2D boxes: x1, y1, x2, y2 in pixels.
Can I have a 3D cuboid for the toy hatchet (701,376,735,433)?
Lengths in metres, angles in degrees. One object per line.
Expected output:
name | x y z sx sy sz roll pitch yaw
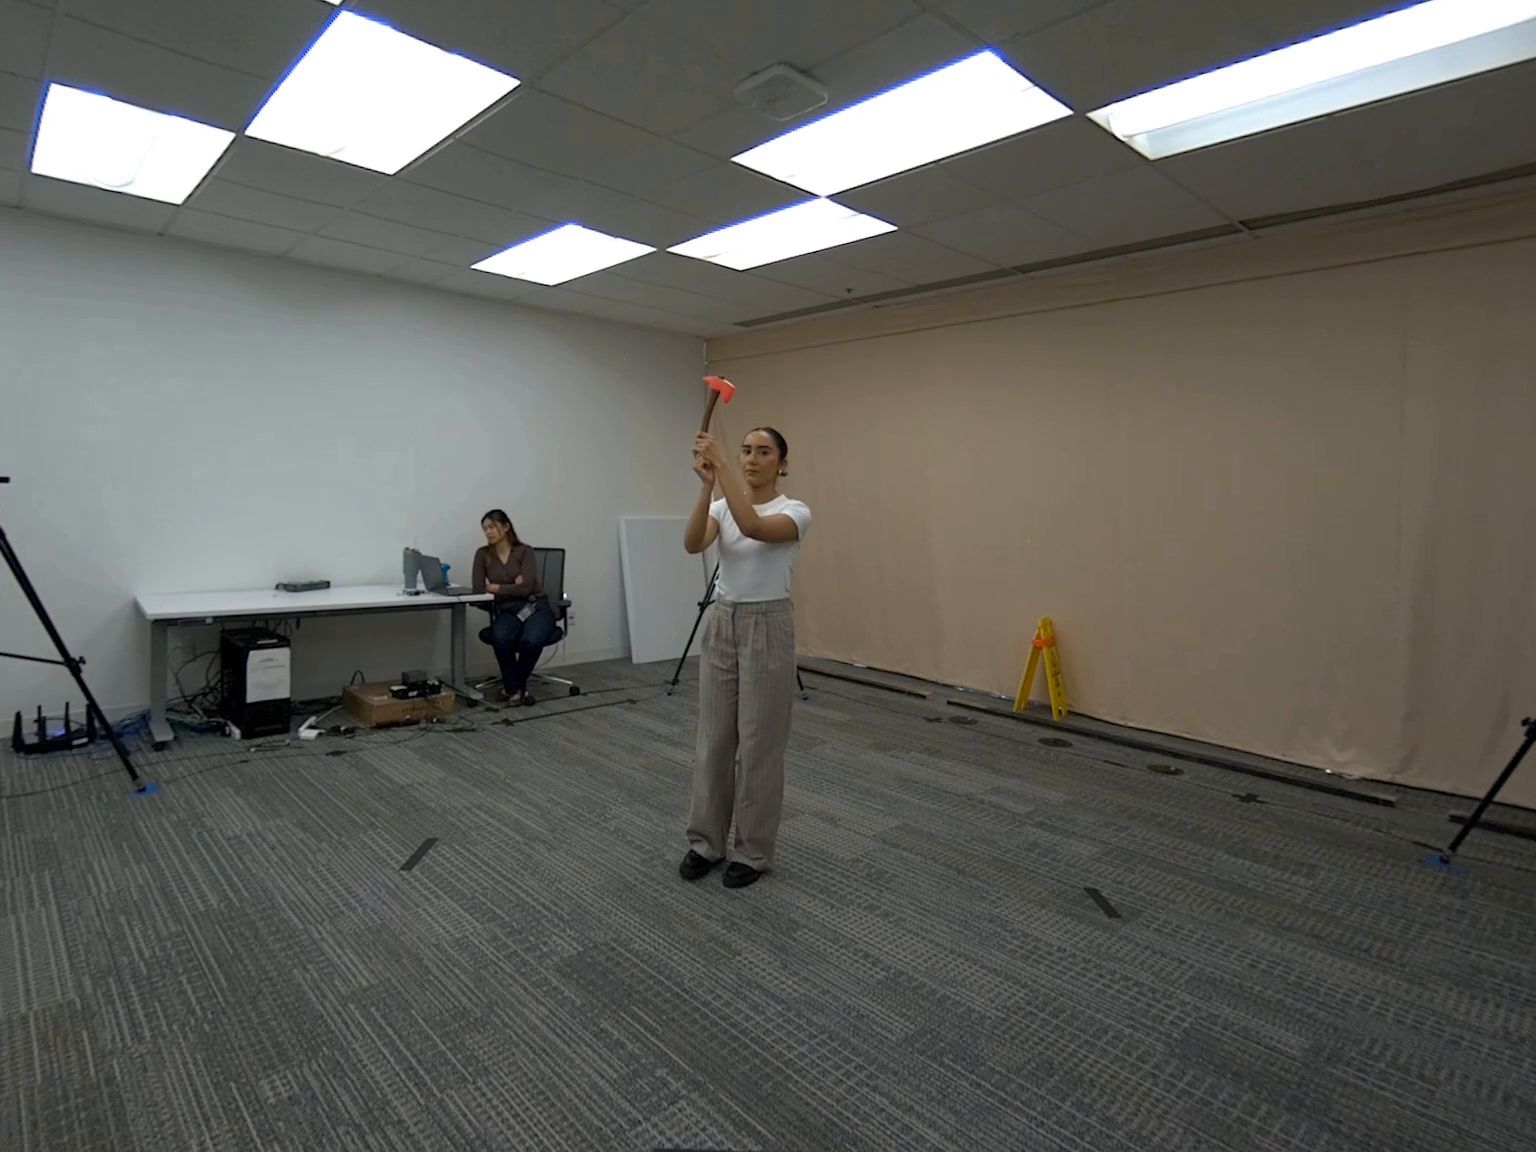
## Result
toy hatchet | -0.179 -0.533 2.782 0.134 0.270 0.029 4 1 28
